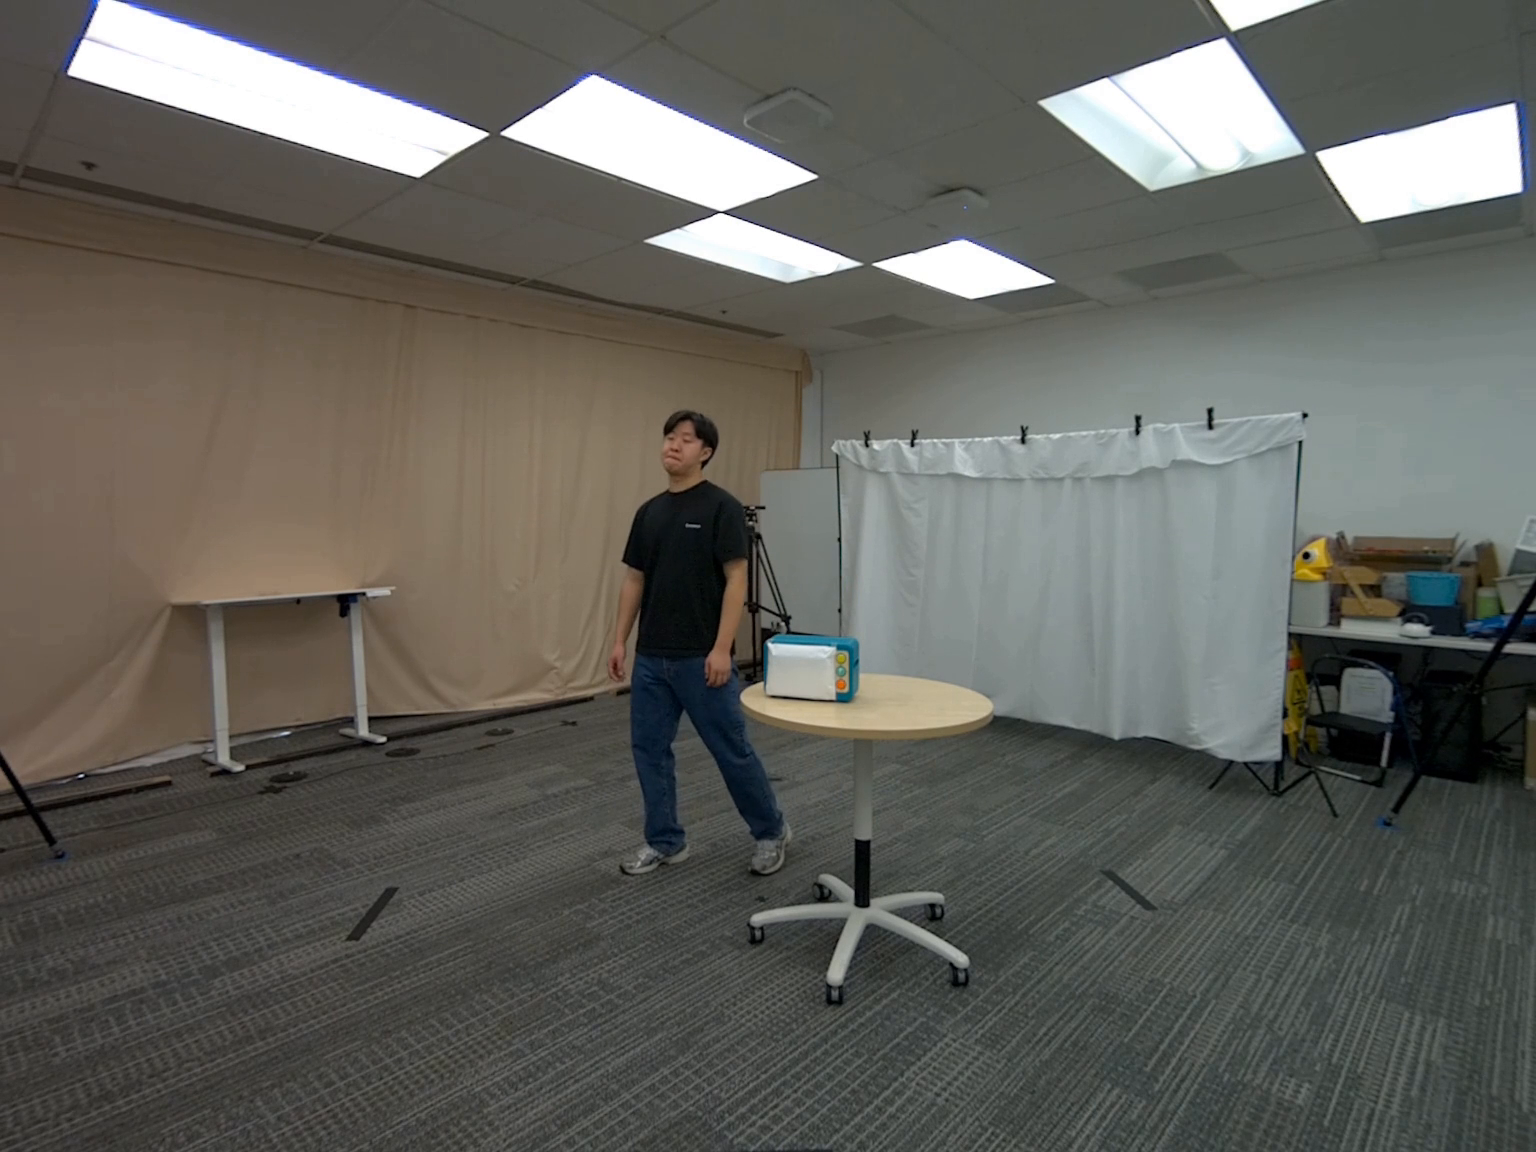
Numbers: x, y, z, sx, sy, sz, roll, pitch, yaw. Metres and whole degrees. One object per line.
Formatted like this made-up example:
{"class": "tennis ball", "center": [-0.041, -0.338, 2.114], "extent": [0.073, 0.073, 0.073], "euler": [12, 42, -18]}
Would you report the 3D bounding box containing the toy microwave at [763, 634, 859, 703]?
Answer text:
{"class": "toy microwave", "center": [0.136, 0.286, 2.609], "extent": [0.291, 0.183, 0.150], "euler": [1, 5, 15]}
